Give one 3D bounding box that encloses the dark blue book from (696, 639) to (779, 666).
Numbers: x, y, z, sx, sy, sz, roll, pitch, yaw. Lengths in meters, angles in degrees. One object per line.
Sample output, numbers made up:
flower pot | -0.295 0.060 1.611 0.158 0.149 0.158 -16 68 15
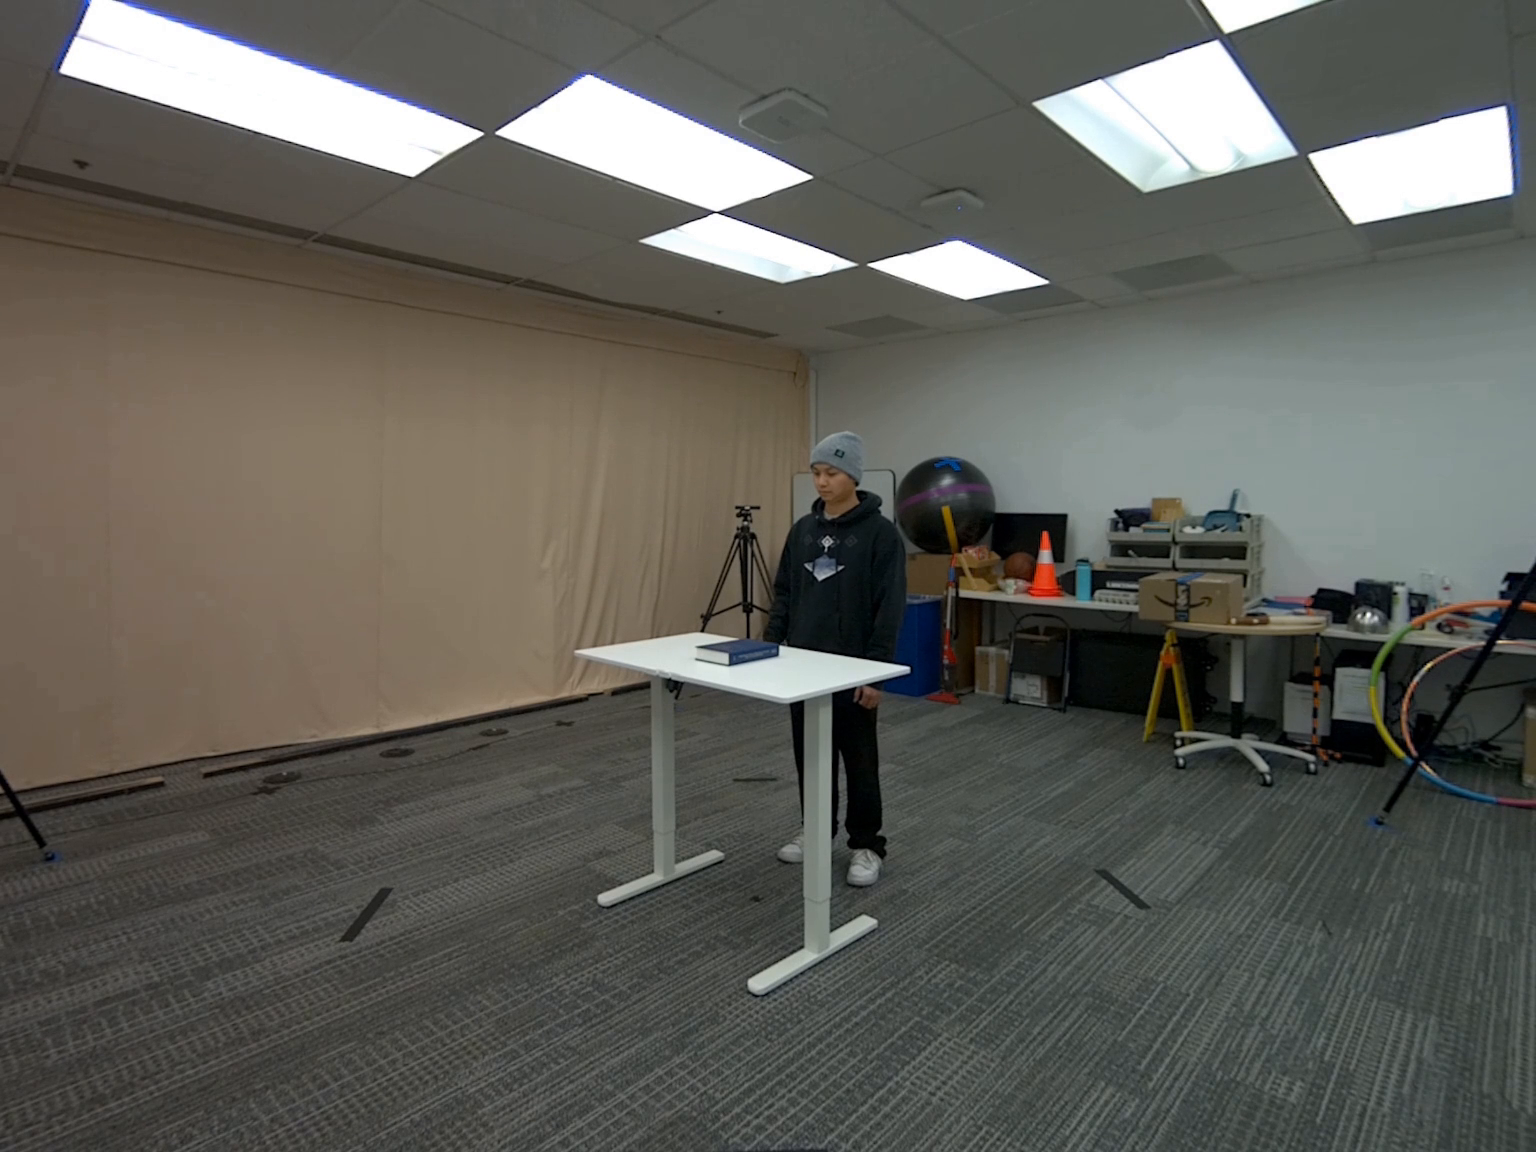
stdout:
dark blue book | -0.103 0.258 2.814 0.169 0.045 0.238 5 7 43
